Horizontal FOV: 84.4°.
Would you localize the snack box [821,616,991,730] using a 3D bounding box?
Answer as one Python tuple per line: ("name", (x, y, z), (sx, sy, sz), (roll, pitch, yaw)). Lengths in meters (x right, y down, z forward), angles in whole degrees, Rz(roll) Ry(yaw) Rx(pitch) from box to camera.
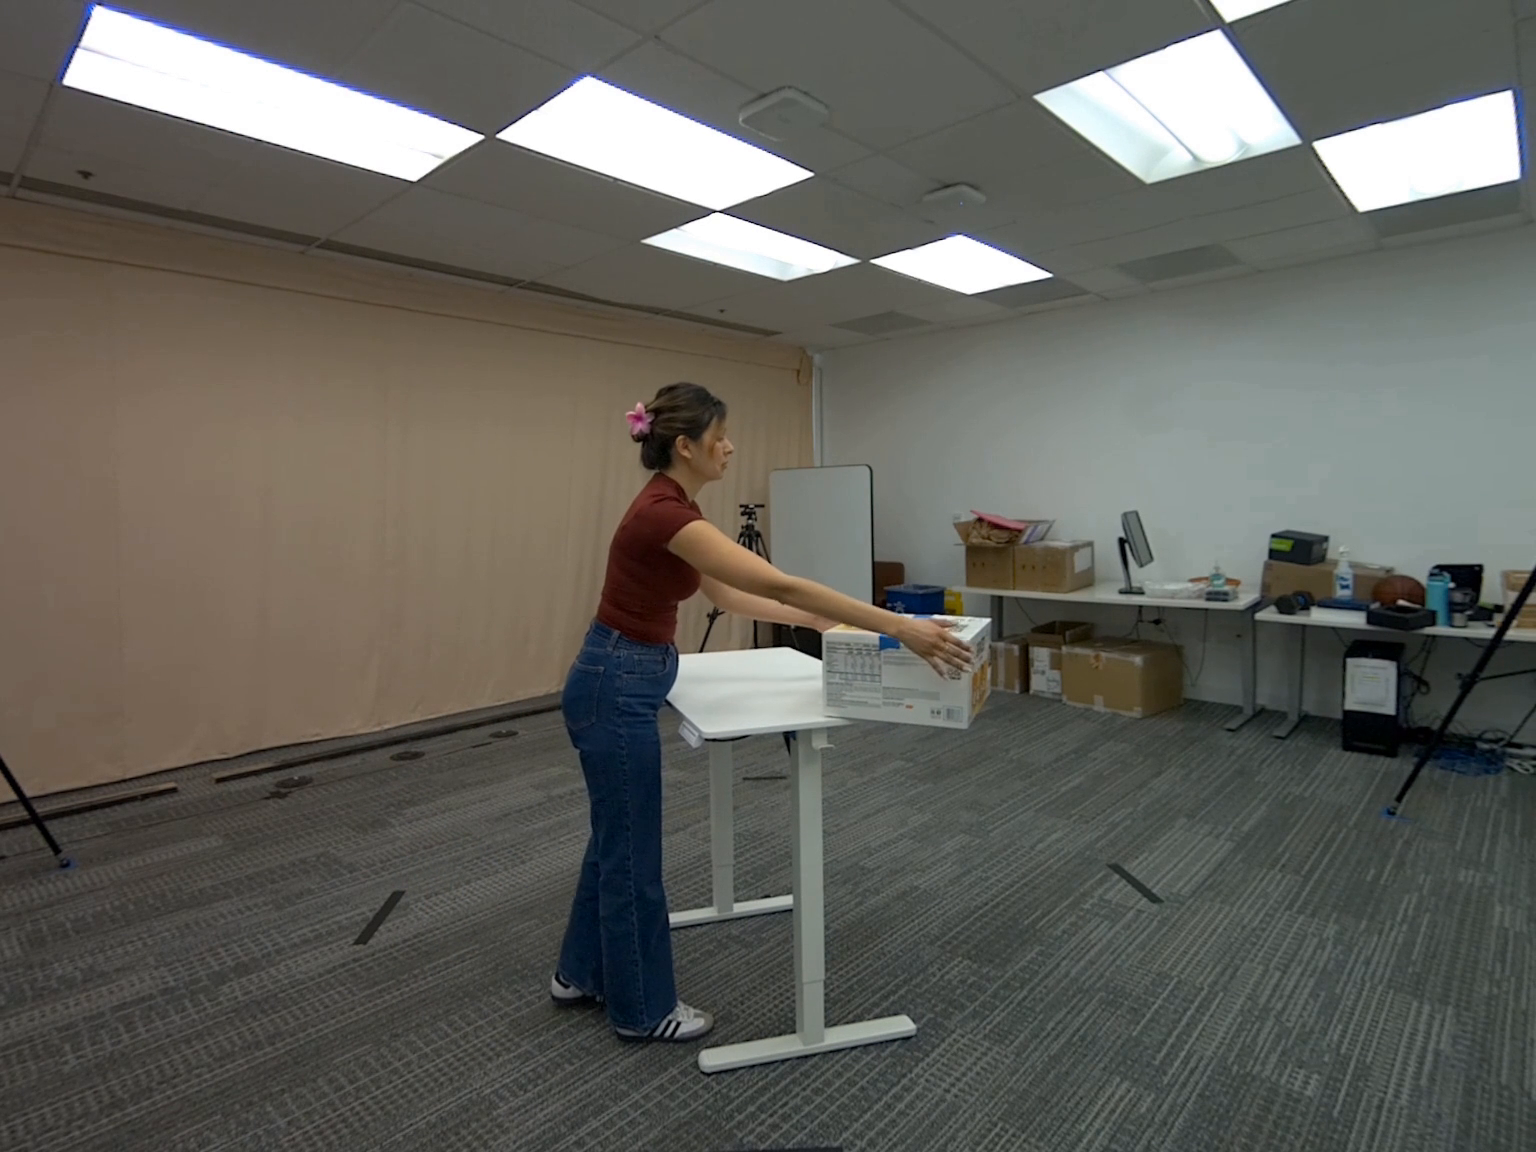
("snack box", (0.358, 0.224, 2.113), (0.349, 0.205, 0.396), (1, 4, 23))
